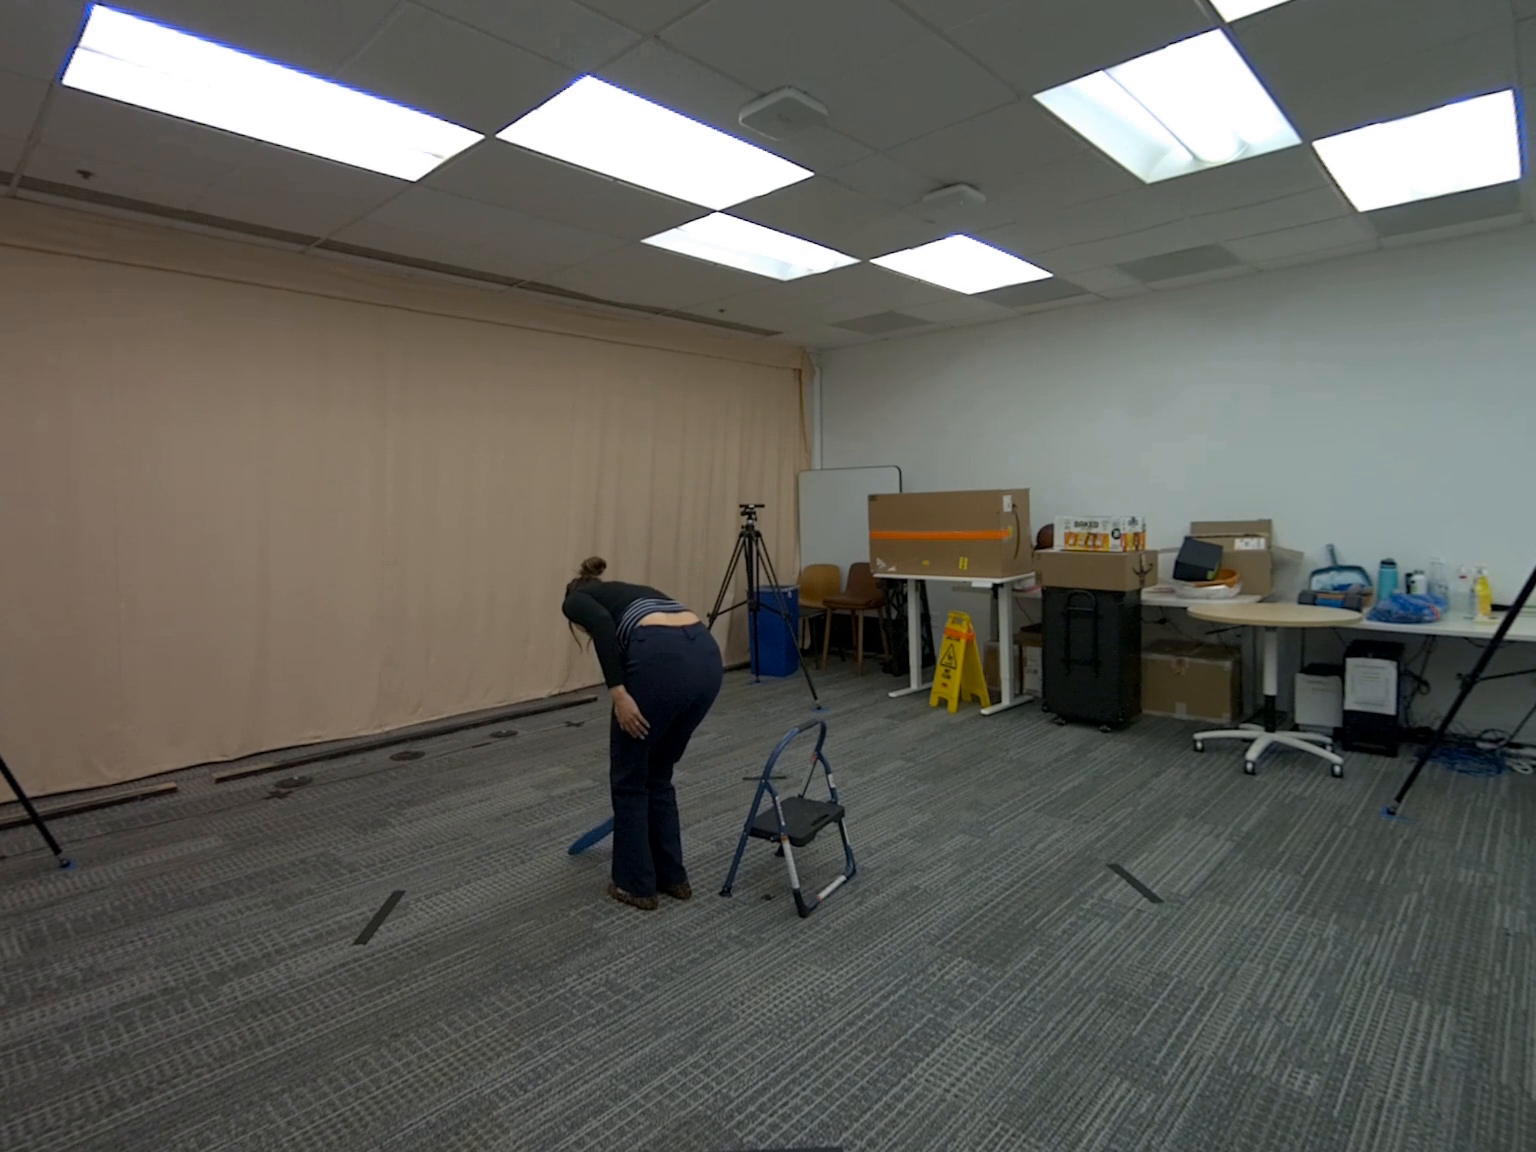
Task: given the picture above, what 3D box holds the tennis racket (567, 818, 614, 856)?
[{"bbox_3d":[-0.630,0.973,3.316,0.436,0.032,0.207,-42,-22,22],"label":"tennis racket"}]
